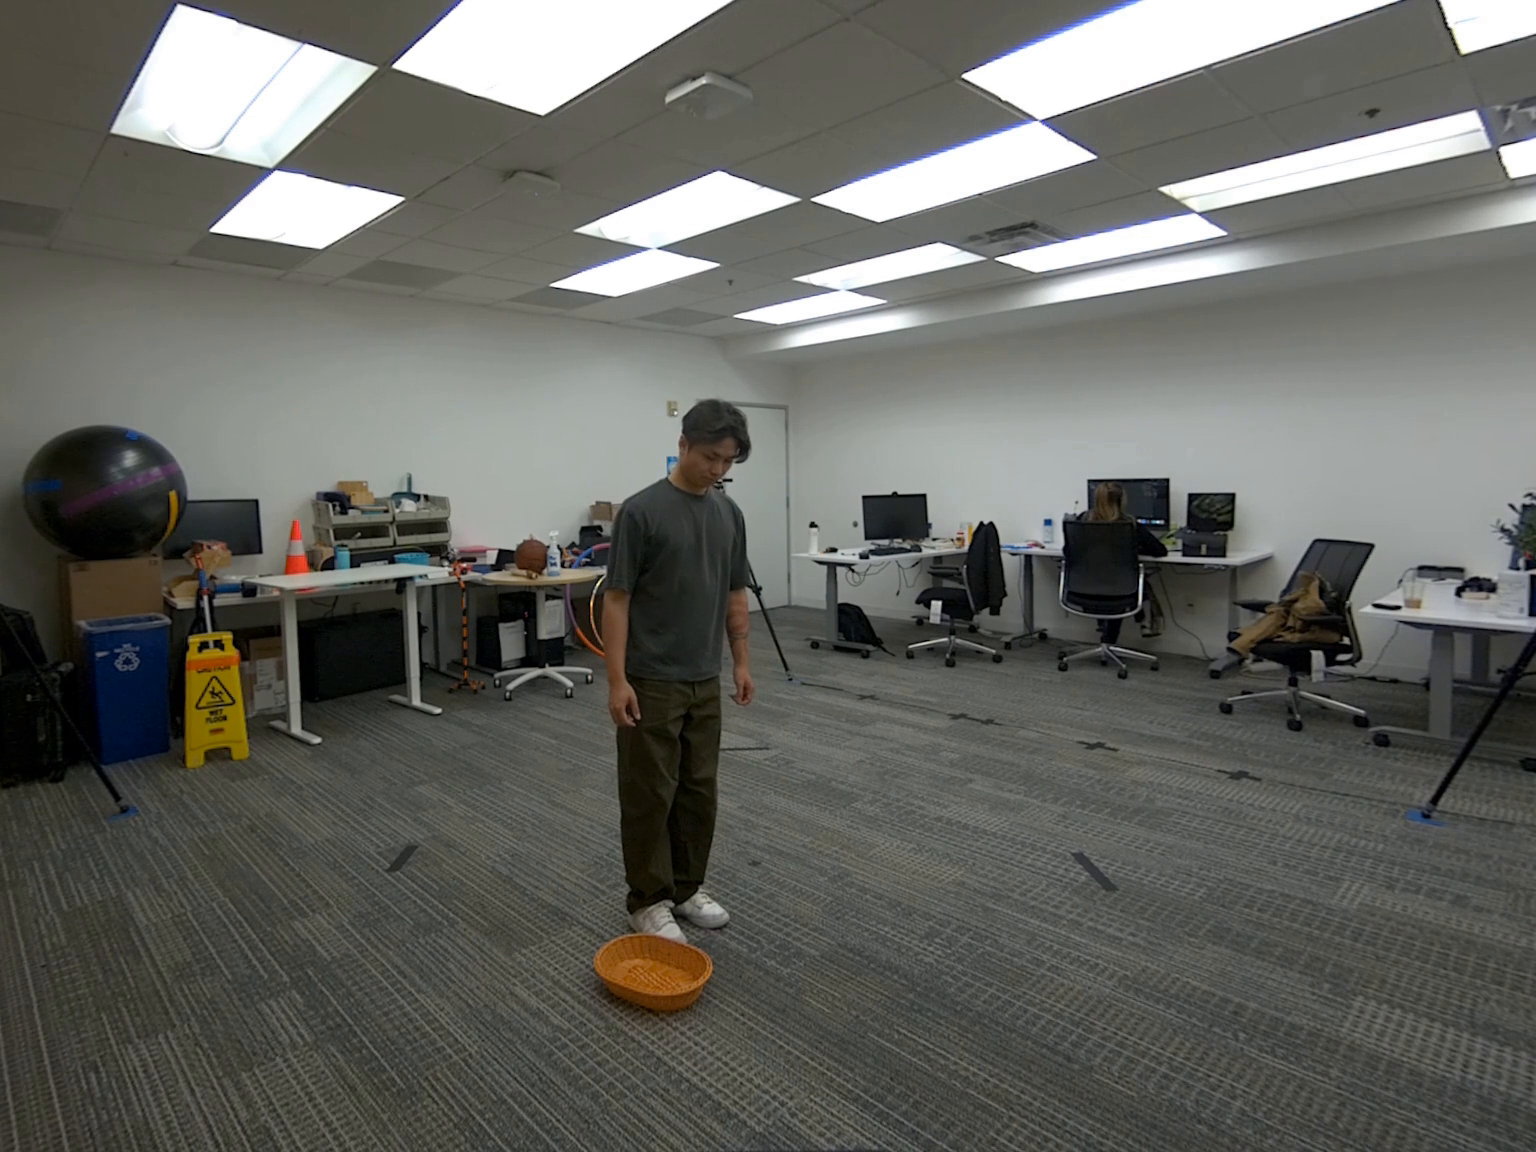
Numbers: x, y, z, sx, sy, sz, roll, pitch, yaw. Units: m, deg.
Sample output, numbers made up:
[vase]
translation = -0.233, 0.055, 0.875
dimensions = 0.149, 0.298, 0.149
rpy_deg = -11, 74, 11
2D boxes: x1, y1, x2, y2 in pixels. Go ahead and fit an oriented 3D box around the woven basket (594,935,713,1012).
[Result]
[woven basket]
translation = -0.318, 1.106, 2.365
dimensions = 0.360, 0.073, 0.246
rpy_deg = 3, 8, 35
